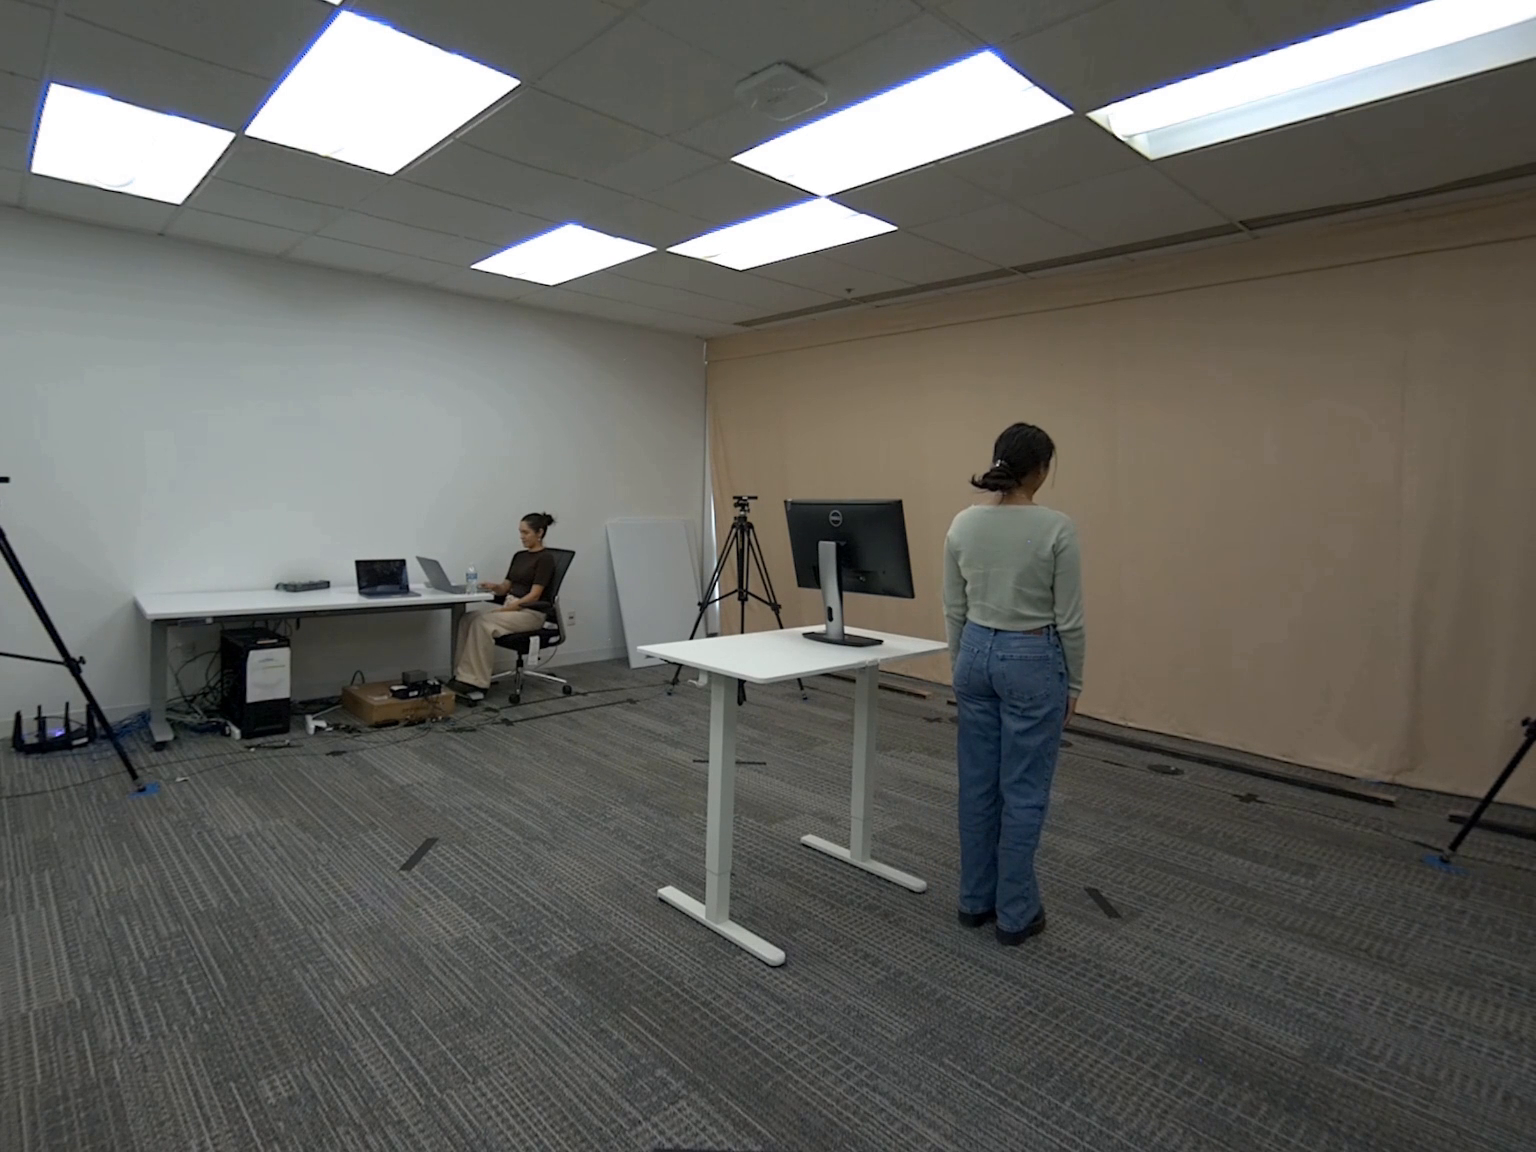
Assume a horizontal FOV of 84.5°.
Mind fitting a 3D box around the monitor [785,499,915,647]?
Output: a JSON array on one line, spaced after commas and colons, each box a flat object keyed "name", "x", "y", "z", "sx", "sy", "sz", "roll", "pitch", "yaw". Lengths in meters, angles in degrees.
[{"name": "monitor", "x": 0.248, "y": -0.013, "z": 3.041, "sx": 0.183, "sy": 0.521, "sz": 0.553, "roll": -5, "pitch": 7, "yaw": -44}]
